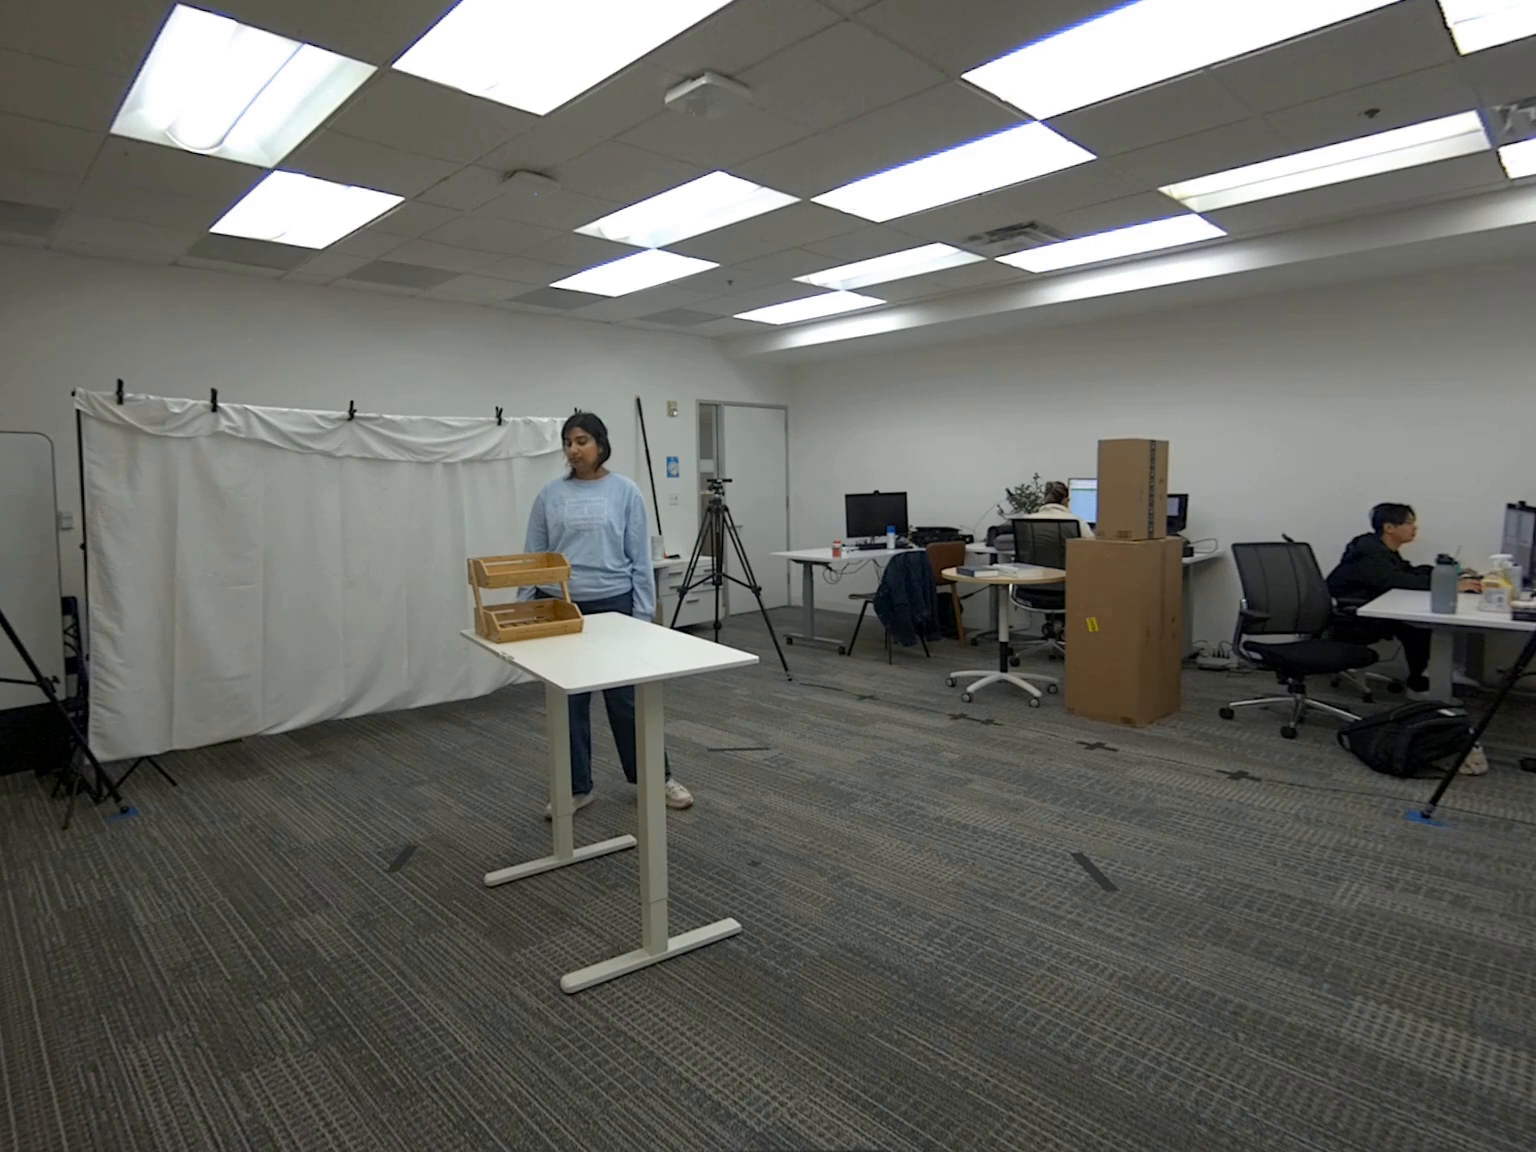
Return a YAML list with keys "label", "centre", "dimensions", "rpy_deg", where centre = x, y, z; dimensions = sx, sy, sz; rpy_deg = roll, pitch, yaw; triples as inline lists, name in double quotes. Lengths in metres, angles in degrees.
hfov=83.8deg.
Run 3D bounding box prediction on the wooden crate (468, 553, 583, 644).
- label: "wooden crate"
  centre: [-0.838, 0.064, 2.949]
  dimensions: [0.316, 0.272, 0.311]
  rpy_deg: [-5, 6, -34]
